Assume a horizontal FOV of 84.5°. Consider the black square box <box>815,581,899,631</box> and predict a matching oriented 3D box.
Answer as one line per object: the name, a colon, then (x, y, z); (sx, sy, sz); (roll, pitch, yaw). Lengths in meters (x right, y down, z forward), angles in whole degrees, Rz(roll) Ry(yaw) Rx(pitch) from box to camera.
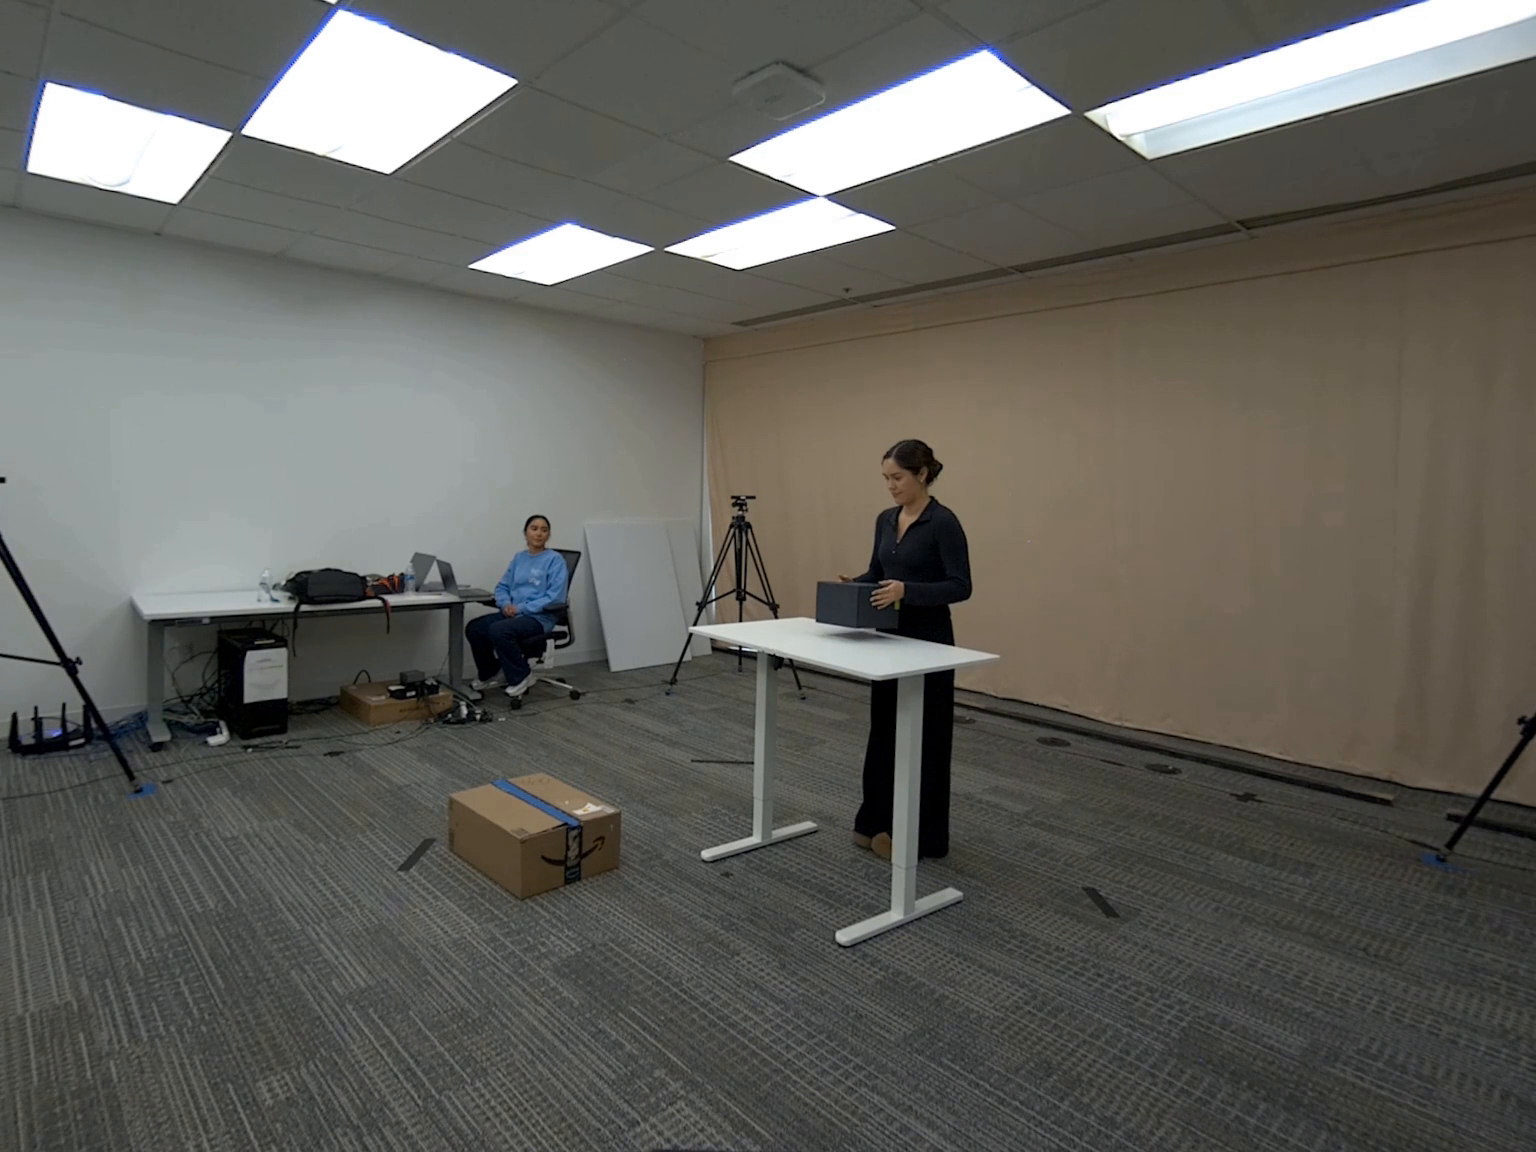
black square box: (0.334, 0.110, 3.146); (0.212, 0.156, 0.233); (2, 2, -37)
